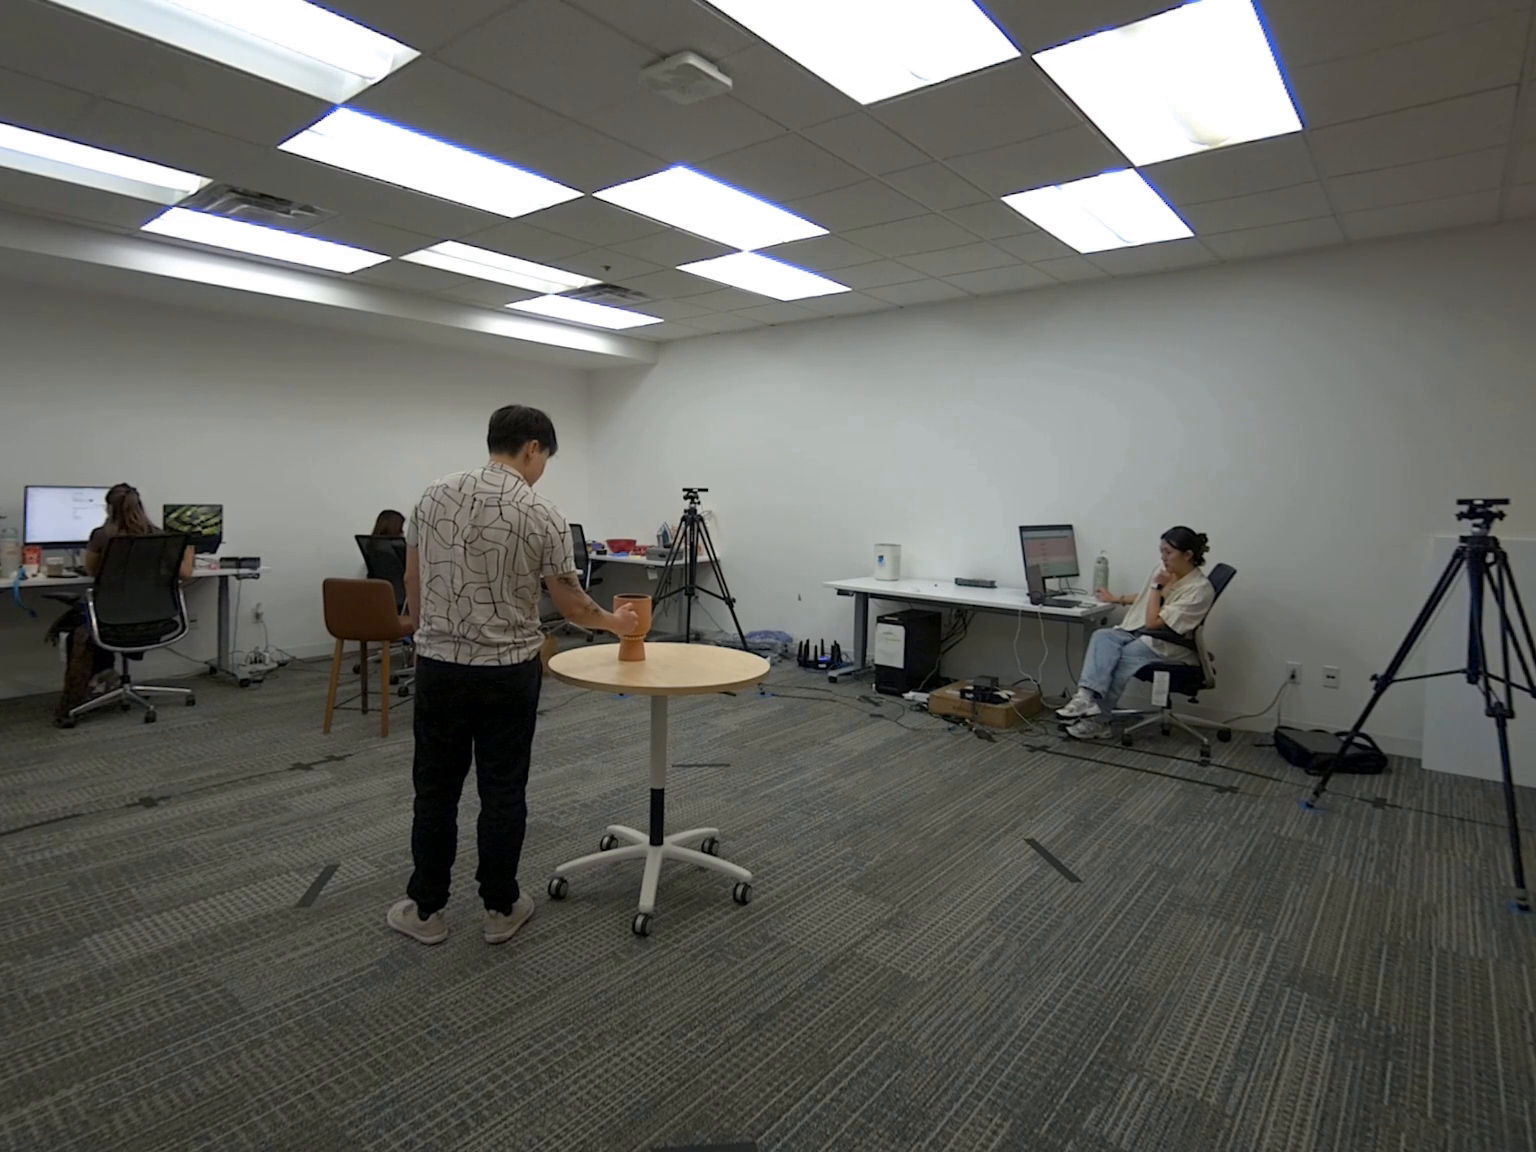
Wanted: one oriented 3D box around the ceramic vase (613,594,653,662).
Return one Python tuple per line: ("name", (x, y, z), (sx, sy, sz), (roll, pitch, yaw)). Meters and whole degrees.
("ceramic vase", (-0.491, 0.181, 2.996), (0.139, 0.219, 0.154), (4, 6, 40))
